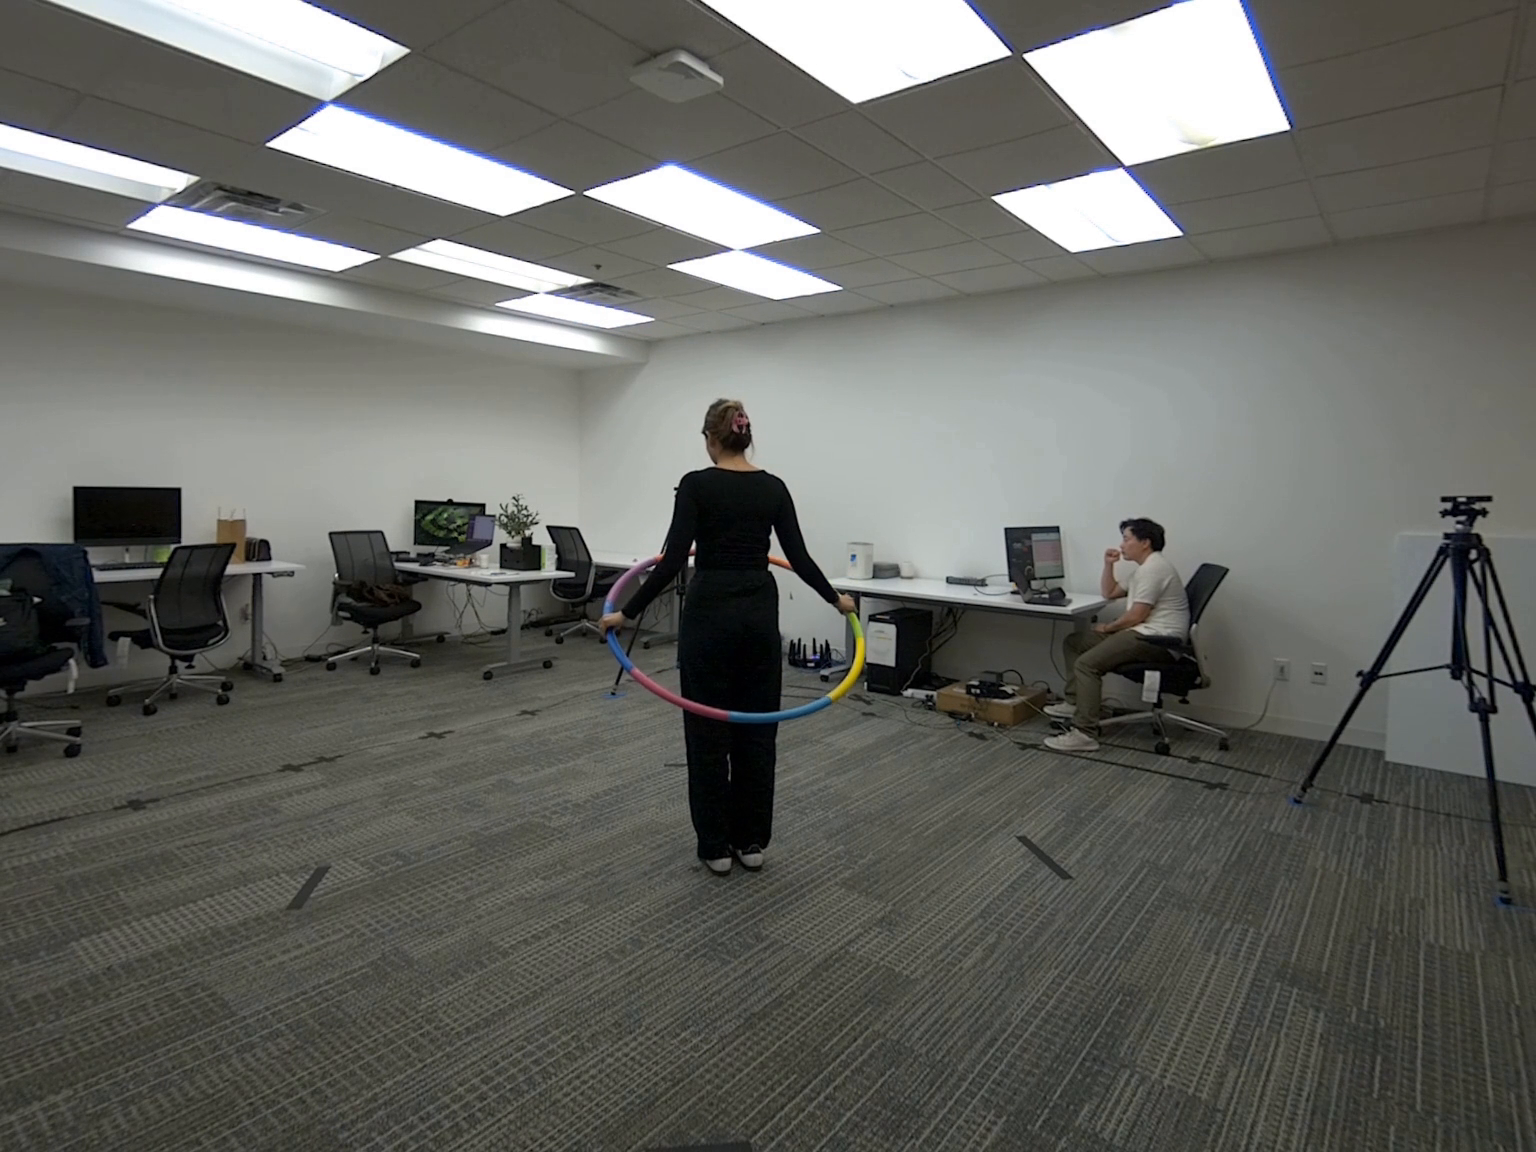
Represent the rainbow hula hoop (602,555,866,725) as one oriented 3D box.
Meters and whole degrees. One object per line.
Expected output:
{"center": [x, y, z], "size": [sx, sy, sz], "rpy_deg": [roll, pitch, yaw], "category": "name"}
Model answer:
{"center": [-0.130, 0.173, 3.168], "size": [0.974, 0.035, 1.006], "rpy_deg": [5, 34, -5], "category": "rainbow hula hoop"}
